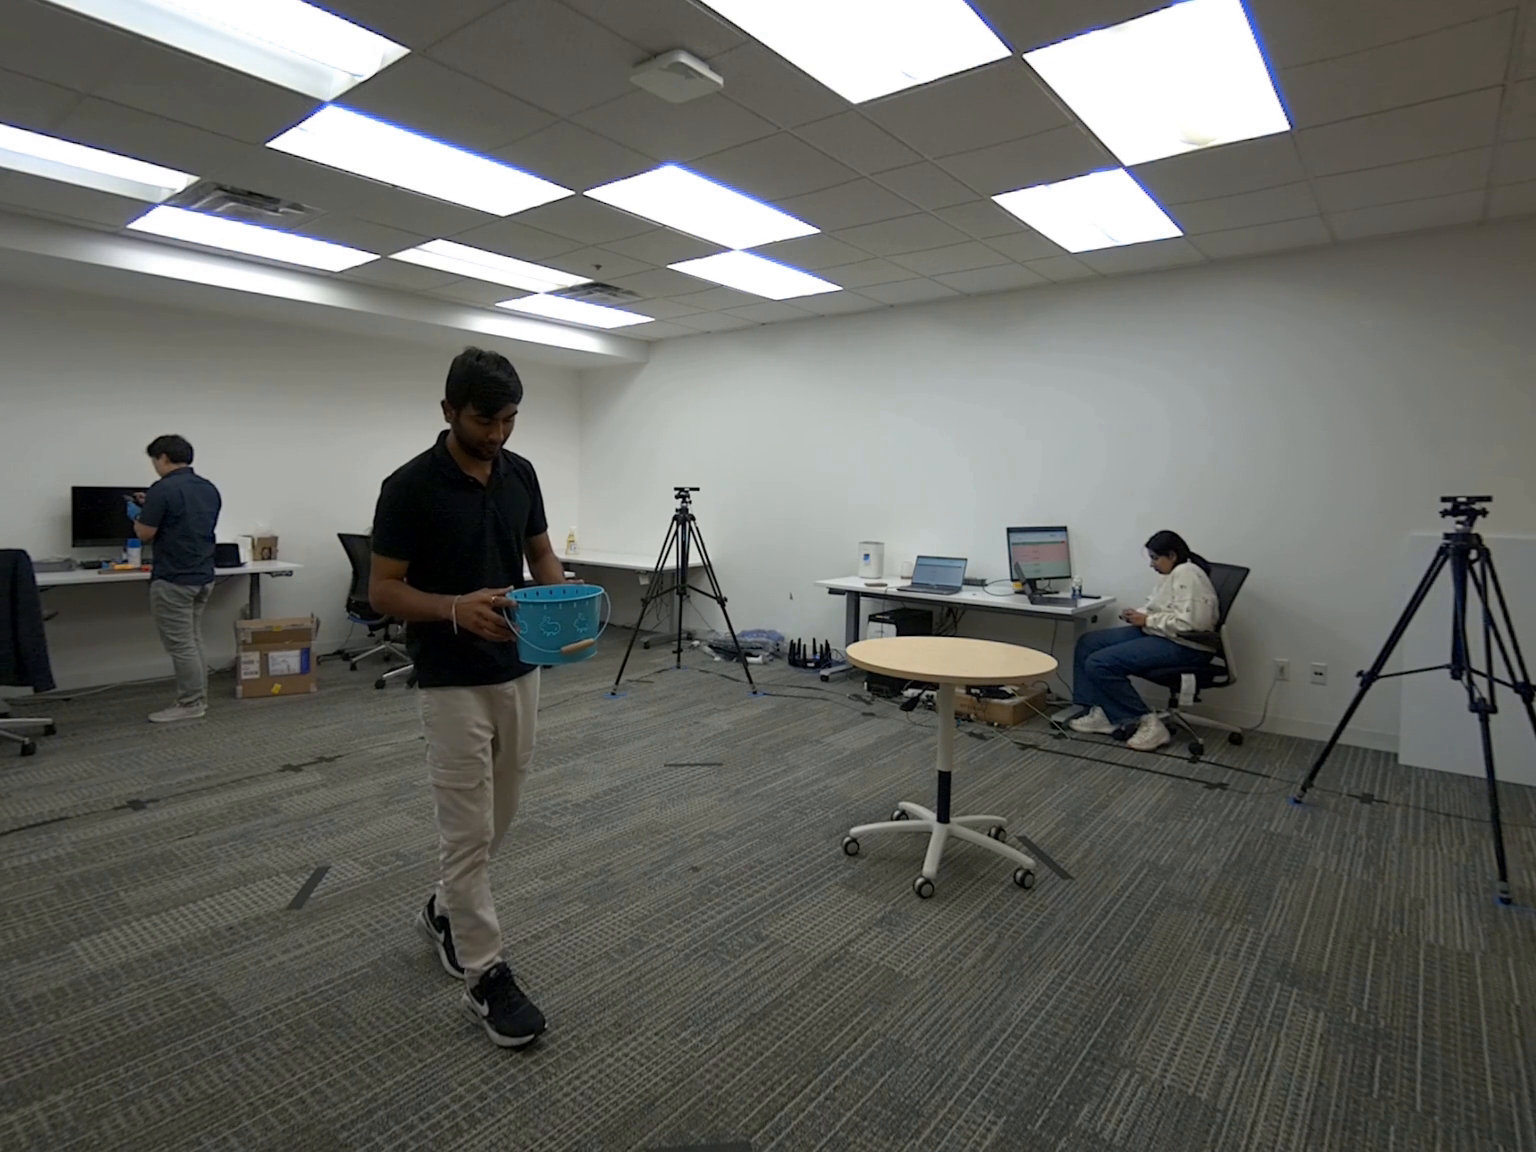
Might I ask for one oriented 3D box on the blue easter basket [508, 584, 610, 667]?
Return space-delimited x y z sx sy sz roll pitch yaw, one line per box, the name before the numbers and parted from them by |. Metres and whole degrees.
blue easter basket | -0.514 0.116 1.988 0.243 0.155 0.245 -3 5 -2
